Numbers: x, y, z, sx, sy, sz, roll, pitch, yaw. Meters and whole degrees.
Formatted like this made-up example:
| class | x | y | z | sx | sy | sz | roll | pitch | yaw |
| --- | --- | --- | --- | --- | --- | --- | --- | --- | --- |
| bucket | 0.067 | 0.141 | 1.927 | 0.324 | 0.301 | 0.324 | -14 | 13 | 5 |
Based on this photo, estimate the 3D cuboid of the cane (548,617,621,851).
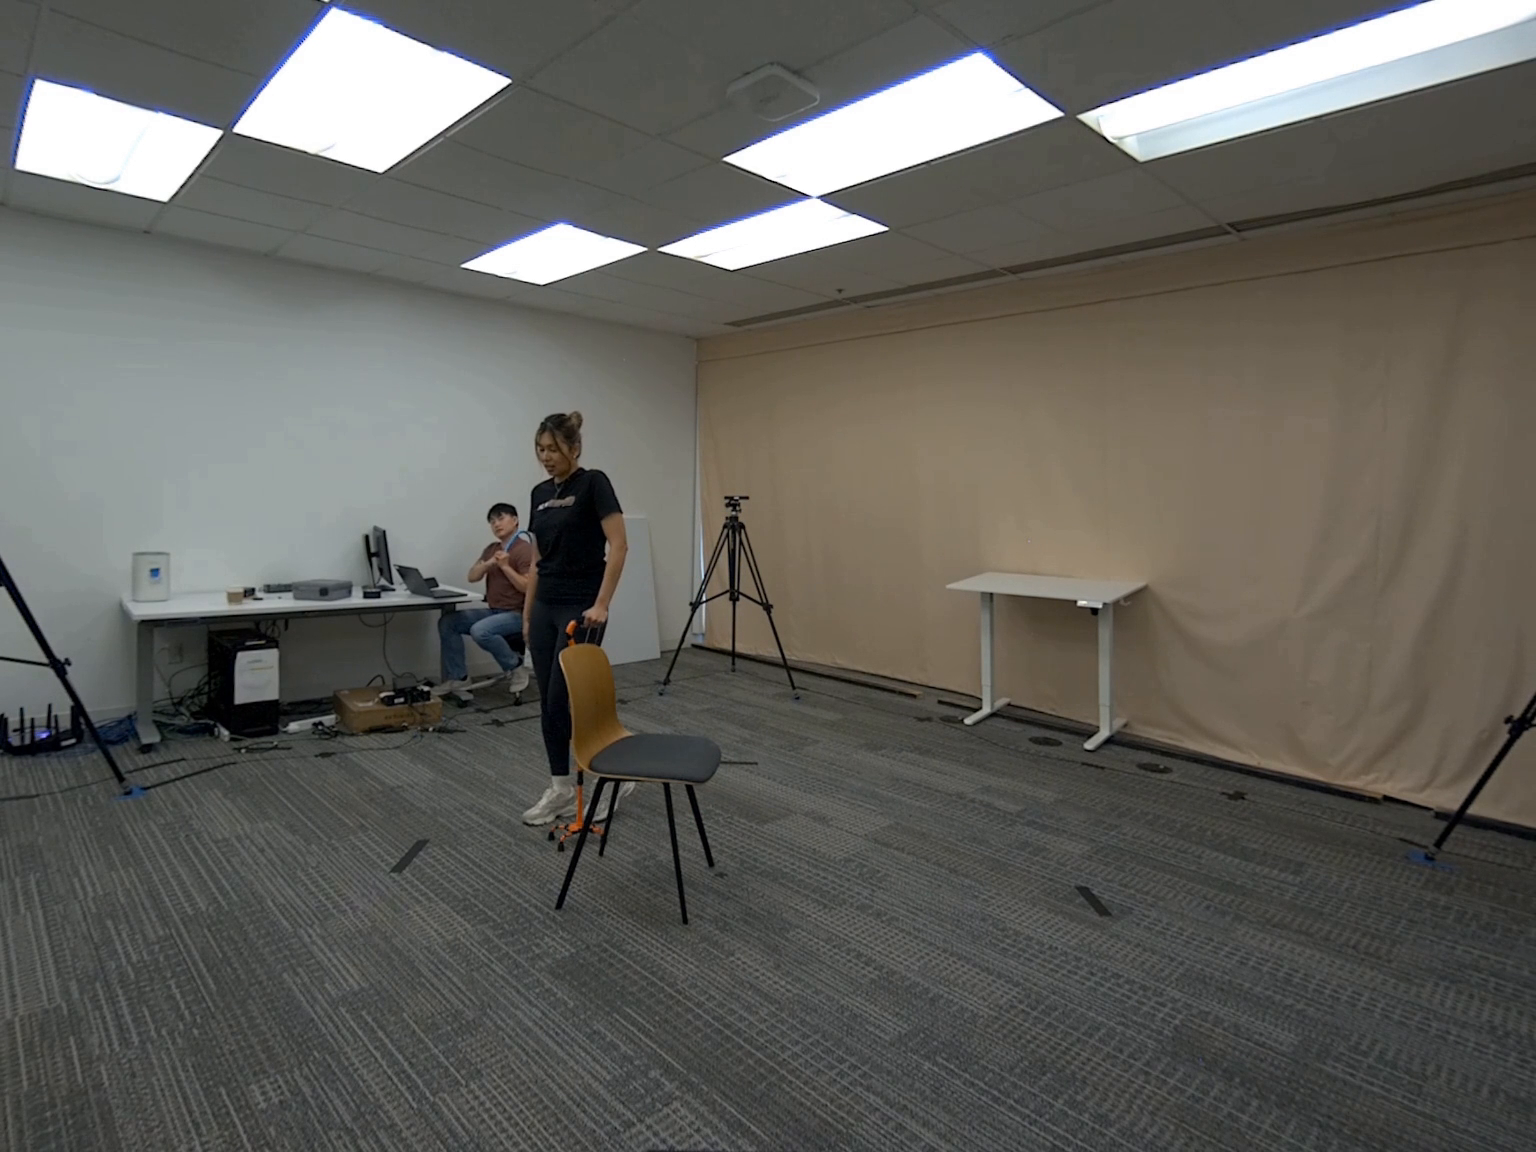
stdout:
| class | x | y | z | sx | sy | sz | roll | pitch | yaw |
| --- | --- | --- | --- | --- | --- | --- | --- | --- | --- |
| cane | -0.759 | 0.615 | 3.354 | 0.202 | 0.905 | 0.155 | 0 | 4 | -33 |
